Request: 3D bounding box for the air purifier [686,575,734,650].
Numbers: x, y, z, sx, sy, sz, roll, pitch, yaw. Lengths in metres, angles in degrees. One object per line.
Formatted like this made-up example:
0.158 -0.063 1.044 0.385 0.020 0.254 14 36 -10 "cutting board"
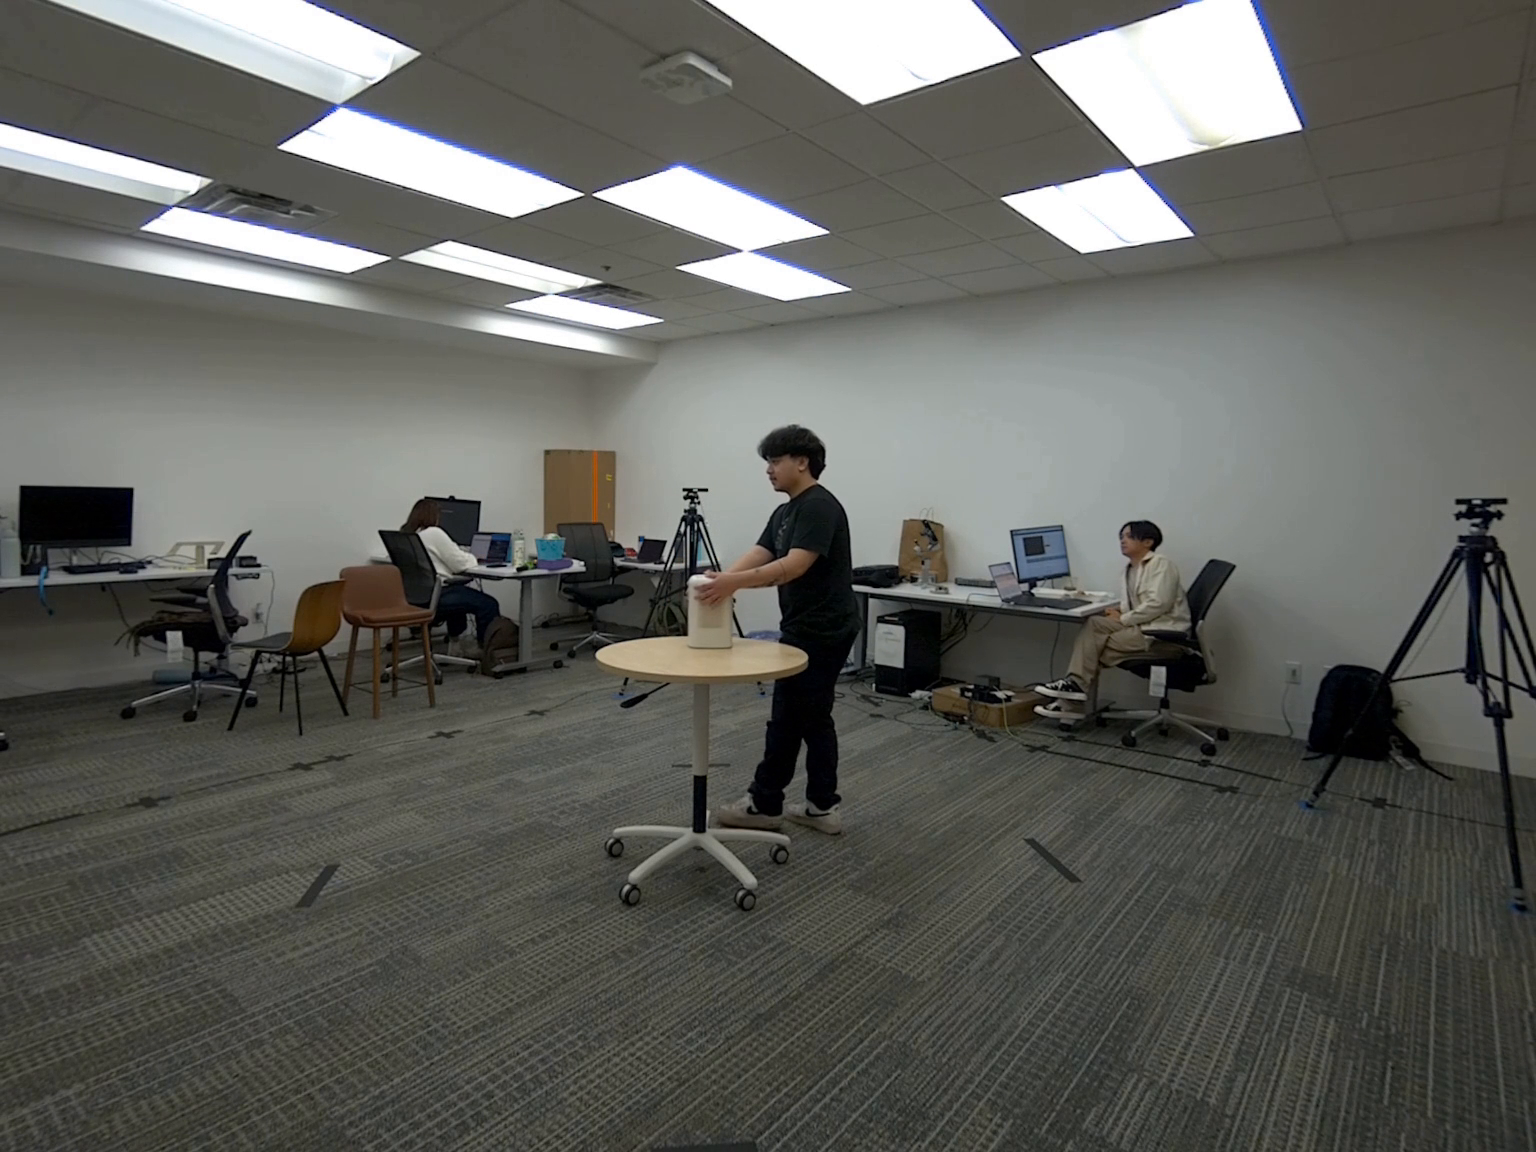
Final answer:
-0.233 0.132 3.261 0.171 0.265 0.172 2 2 -4 "air purifier"
